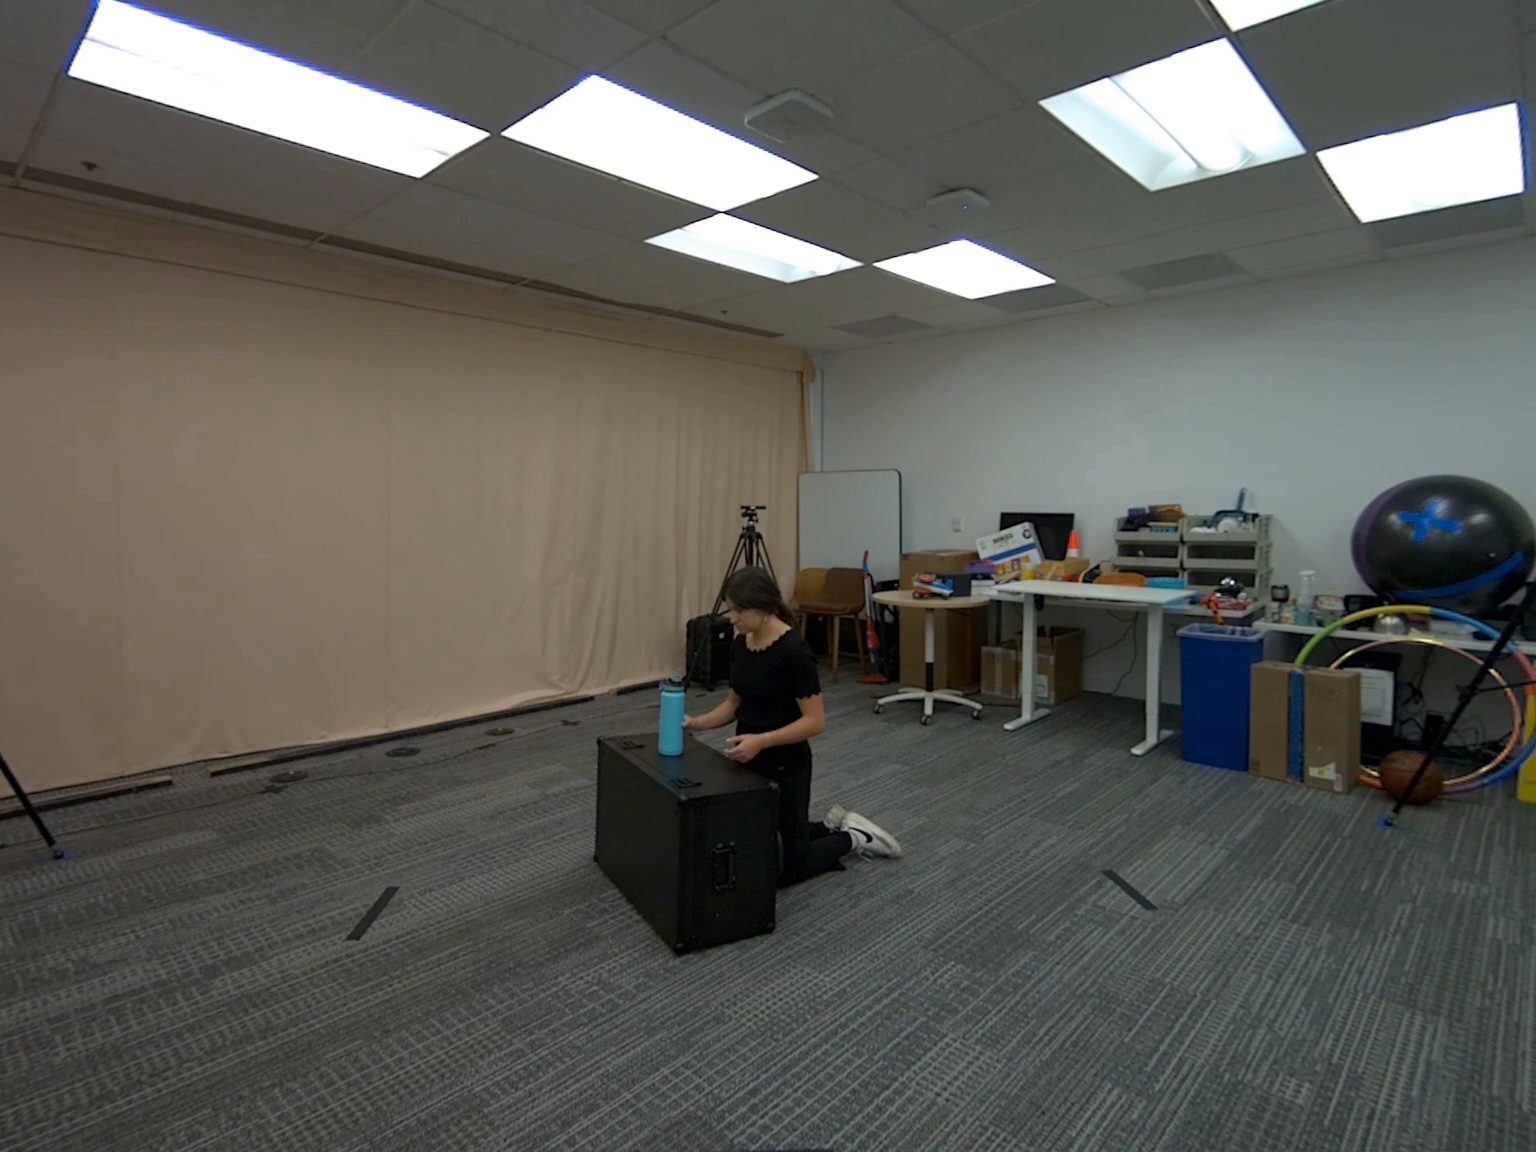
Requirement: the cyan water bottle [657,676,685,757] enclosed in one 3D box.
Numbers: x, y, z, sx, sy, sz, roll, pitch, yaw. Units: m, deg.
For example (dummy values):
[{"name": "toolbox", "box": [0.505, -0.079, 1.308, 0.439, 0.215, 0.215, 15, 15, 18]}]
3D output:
[{"name": "cyan water bottle", "box": [-0.353, 0.511, 3.095, 0.092, 0.283, 0.092, 1, 3, -2]}]
